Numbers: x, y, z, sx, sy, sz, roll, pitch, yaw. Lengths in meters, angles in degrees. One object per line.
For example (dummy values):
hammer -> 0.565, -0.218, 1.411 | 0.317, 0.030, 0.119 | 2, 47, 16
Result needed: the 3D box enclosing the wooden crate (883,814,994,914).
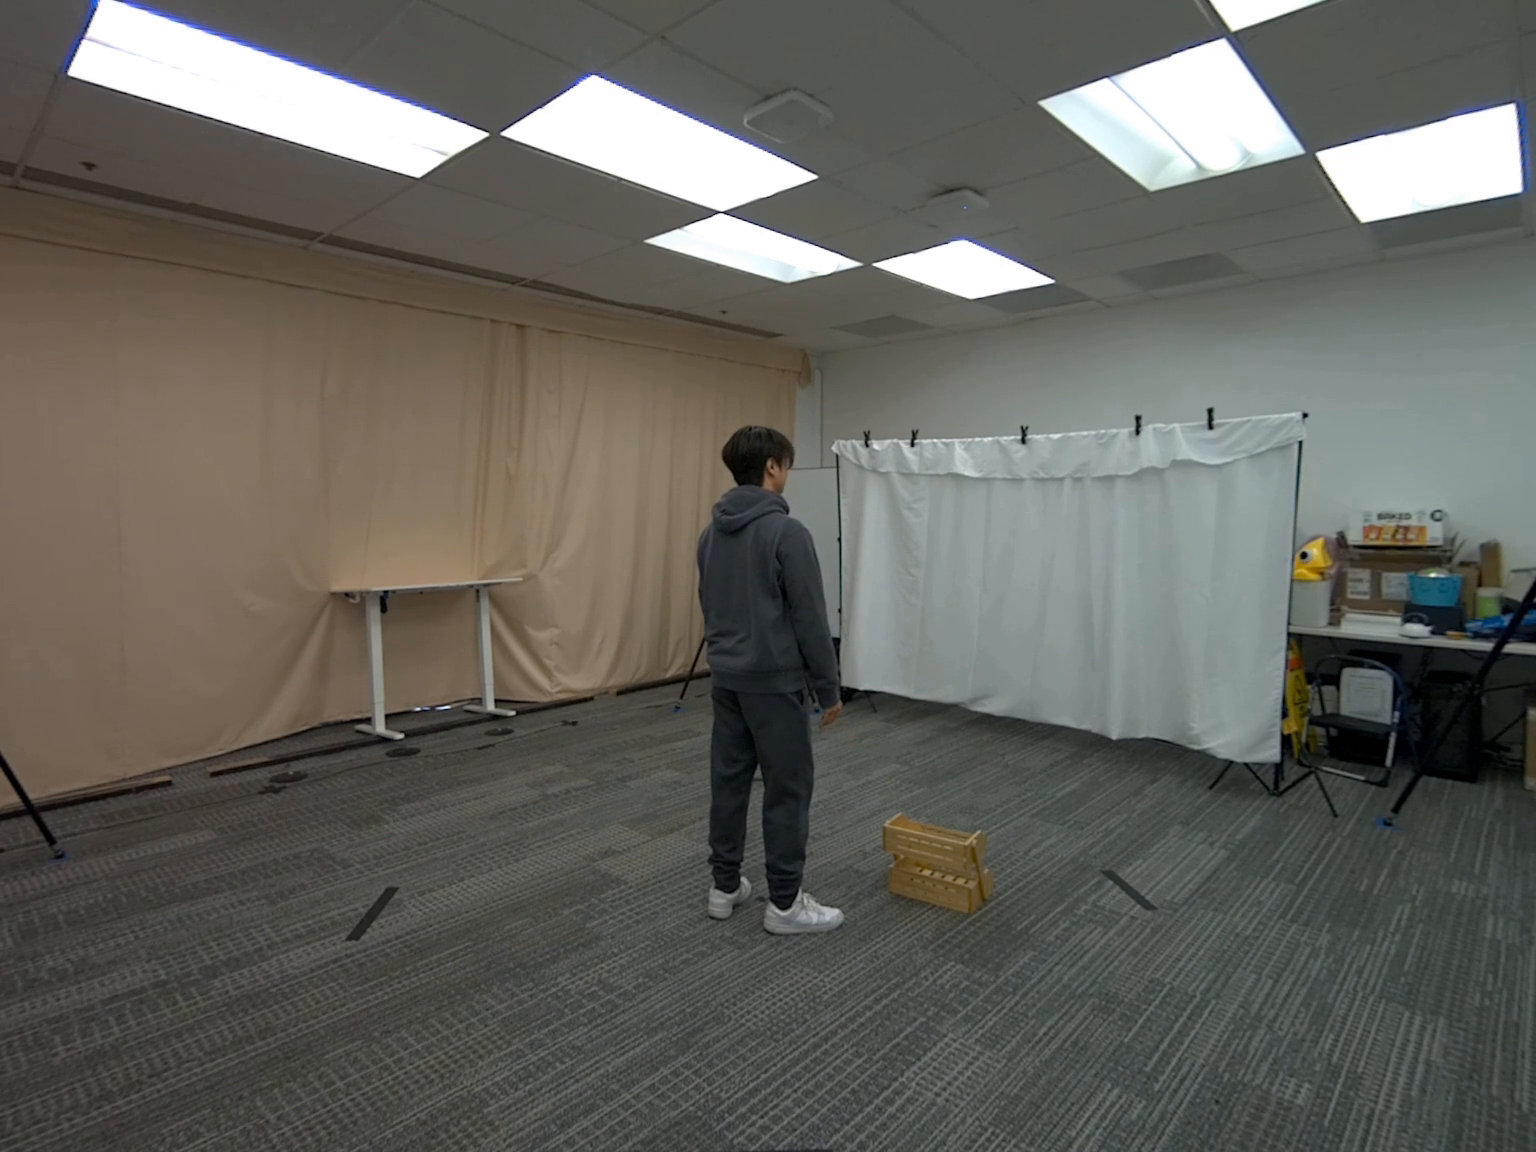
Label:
wooden crate -> 0.622, 1.009, 3.023 | 0.334, 0.272, 0.293 | 2, 5, 33
